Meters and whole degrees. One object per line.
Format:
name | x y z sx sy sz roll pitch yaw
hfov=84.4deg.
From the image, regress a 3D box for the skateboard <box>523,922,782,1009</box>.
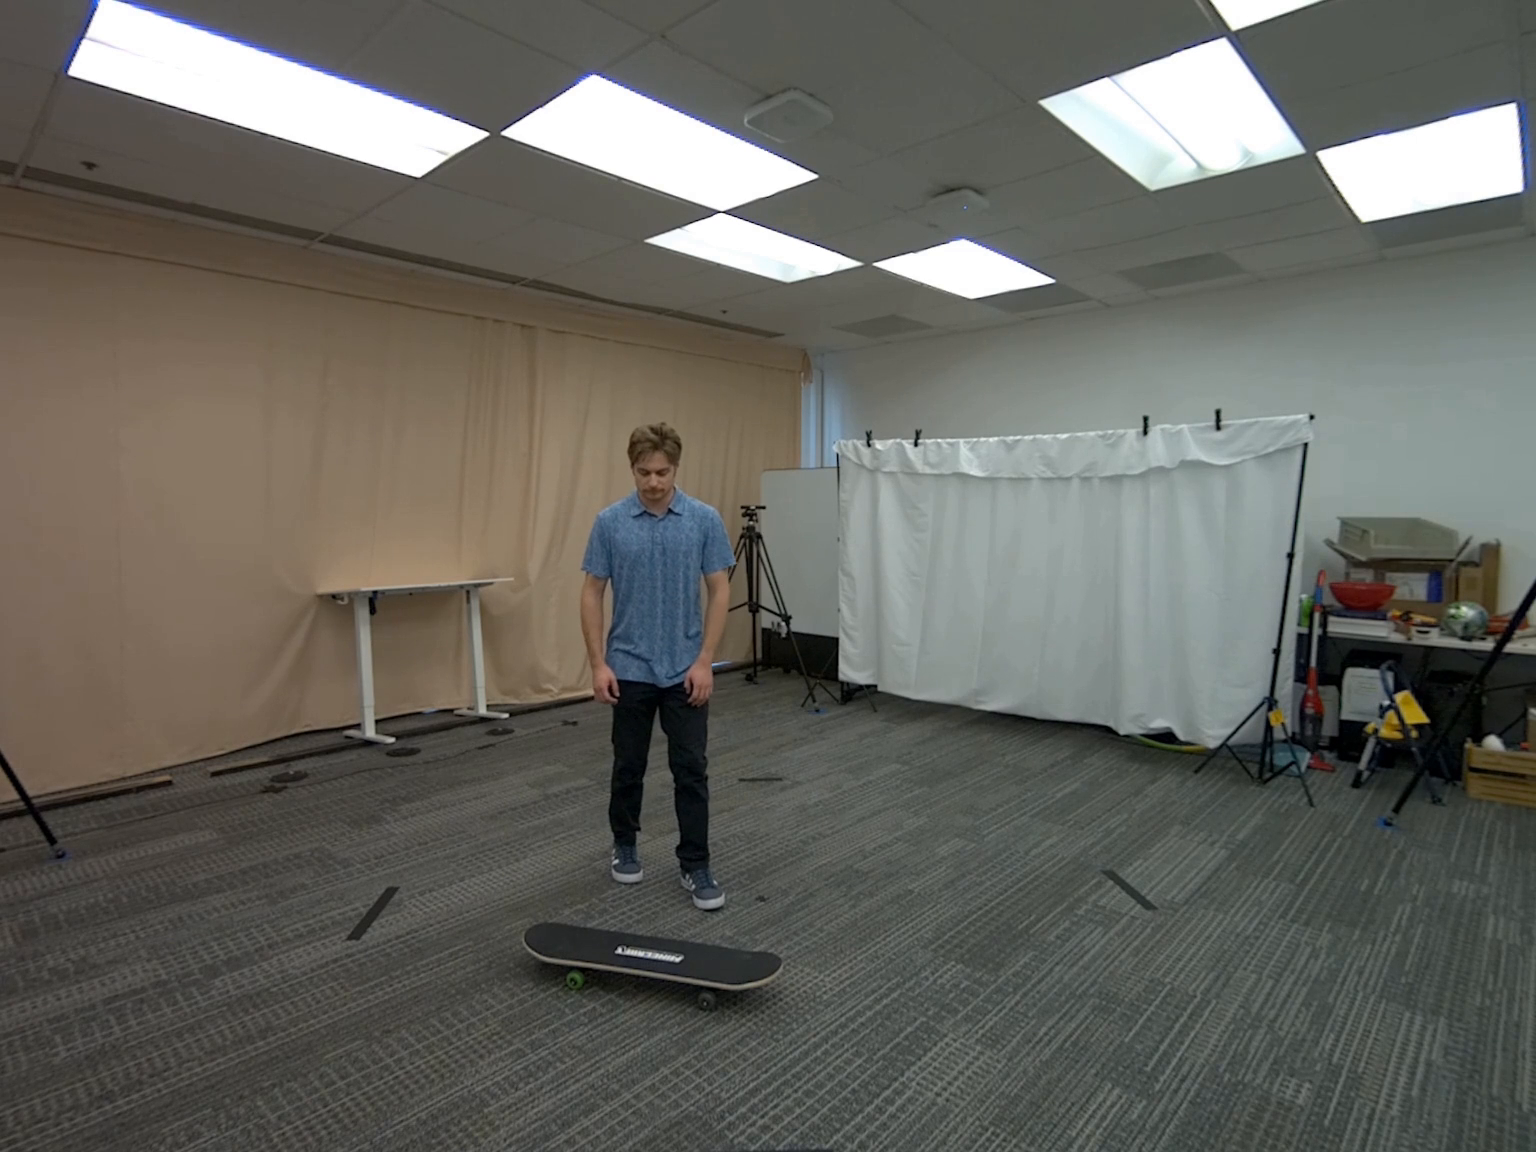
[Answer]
skateboard | -0.337 1.132 2.455 0.797 0.110 0.191 0 4 14
